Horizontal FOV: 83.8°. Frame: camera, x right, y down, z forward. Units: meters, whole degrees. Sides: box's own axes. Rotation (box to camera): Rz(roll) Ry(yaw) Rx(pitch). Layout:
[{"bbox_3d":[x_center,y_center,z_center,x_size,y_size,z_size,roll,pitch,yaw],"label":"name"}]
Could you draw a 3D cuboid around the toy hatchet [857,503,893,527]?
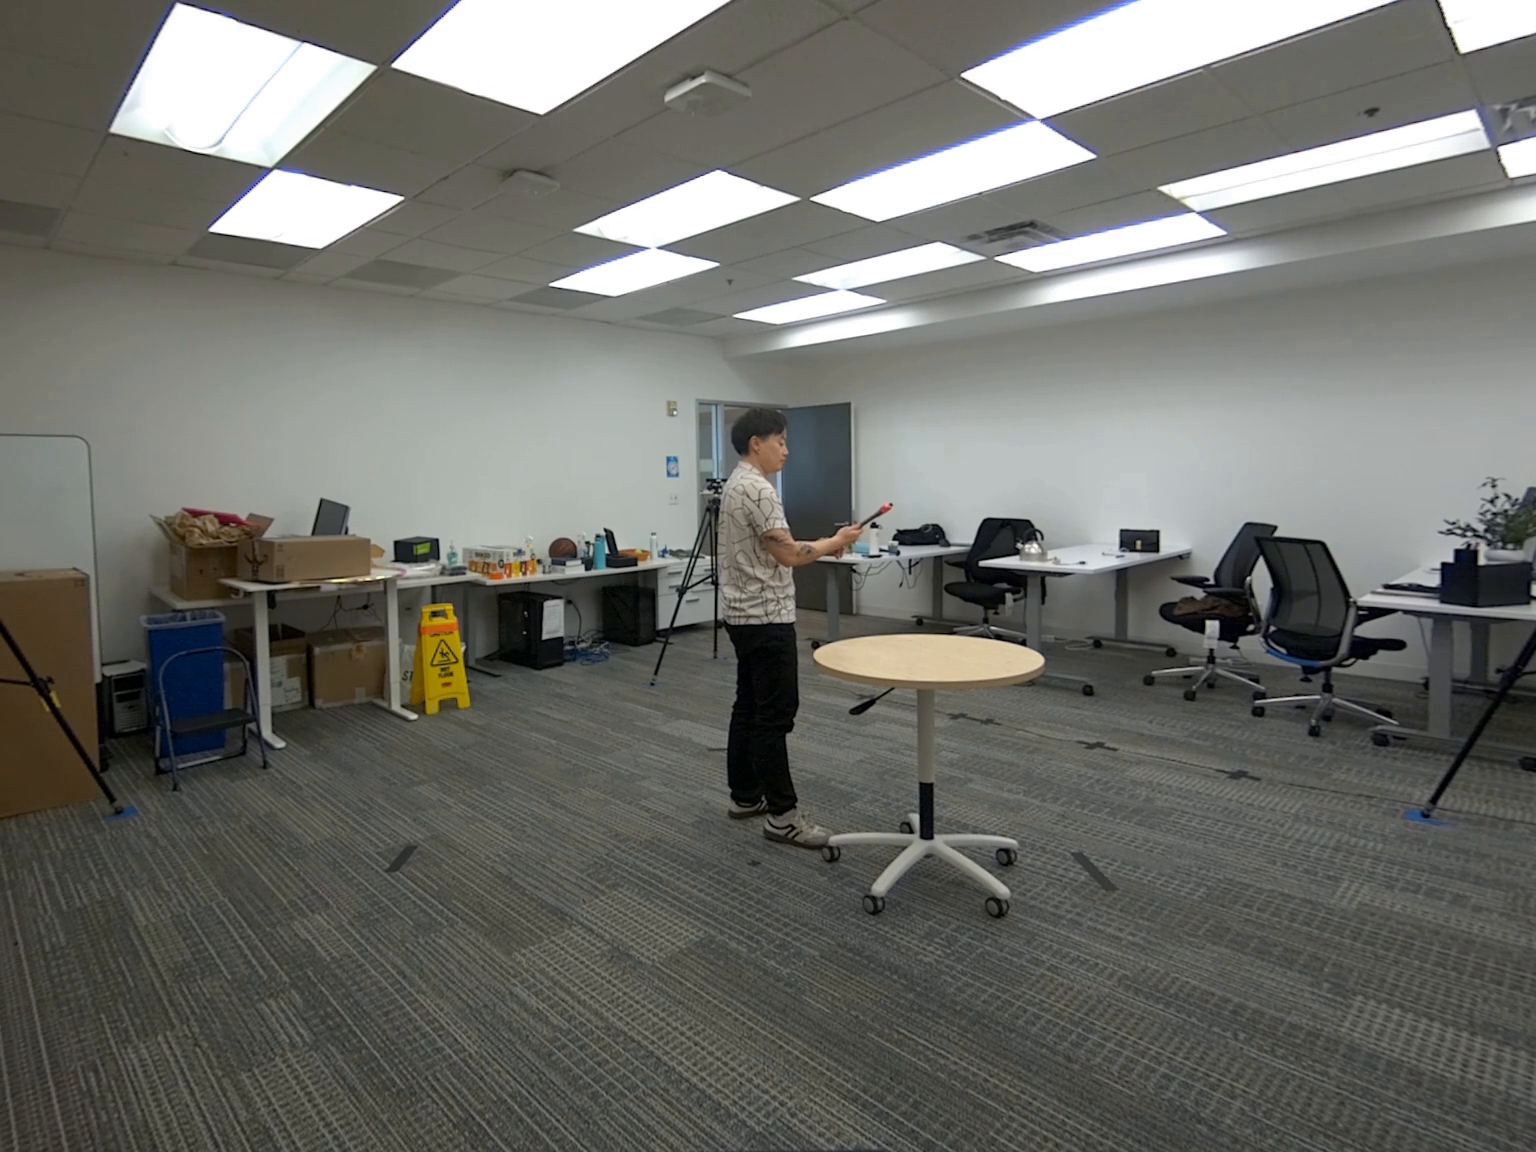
[{"bbox_3d":[0.398,-0.217,3.432,0.272,0.030,0.129,-34,-4,28],"label":"toy hatchet"}]
